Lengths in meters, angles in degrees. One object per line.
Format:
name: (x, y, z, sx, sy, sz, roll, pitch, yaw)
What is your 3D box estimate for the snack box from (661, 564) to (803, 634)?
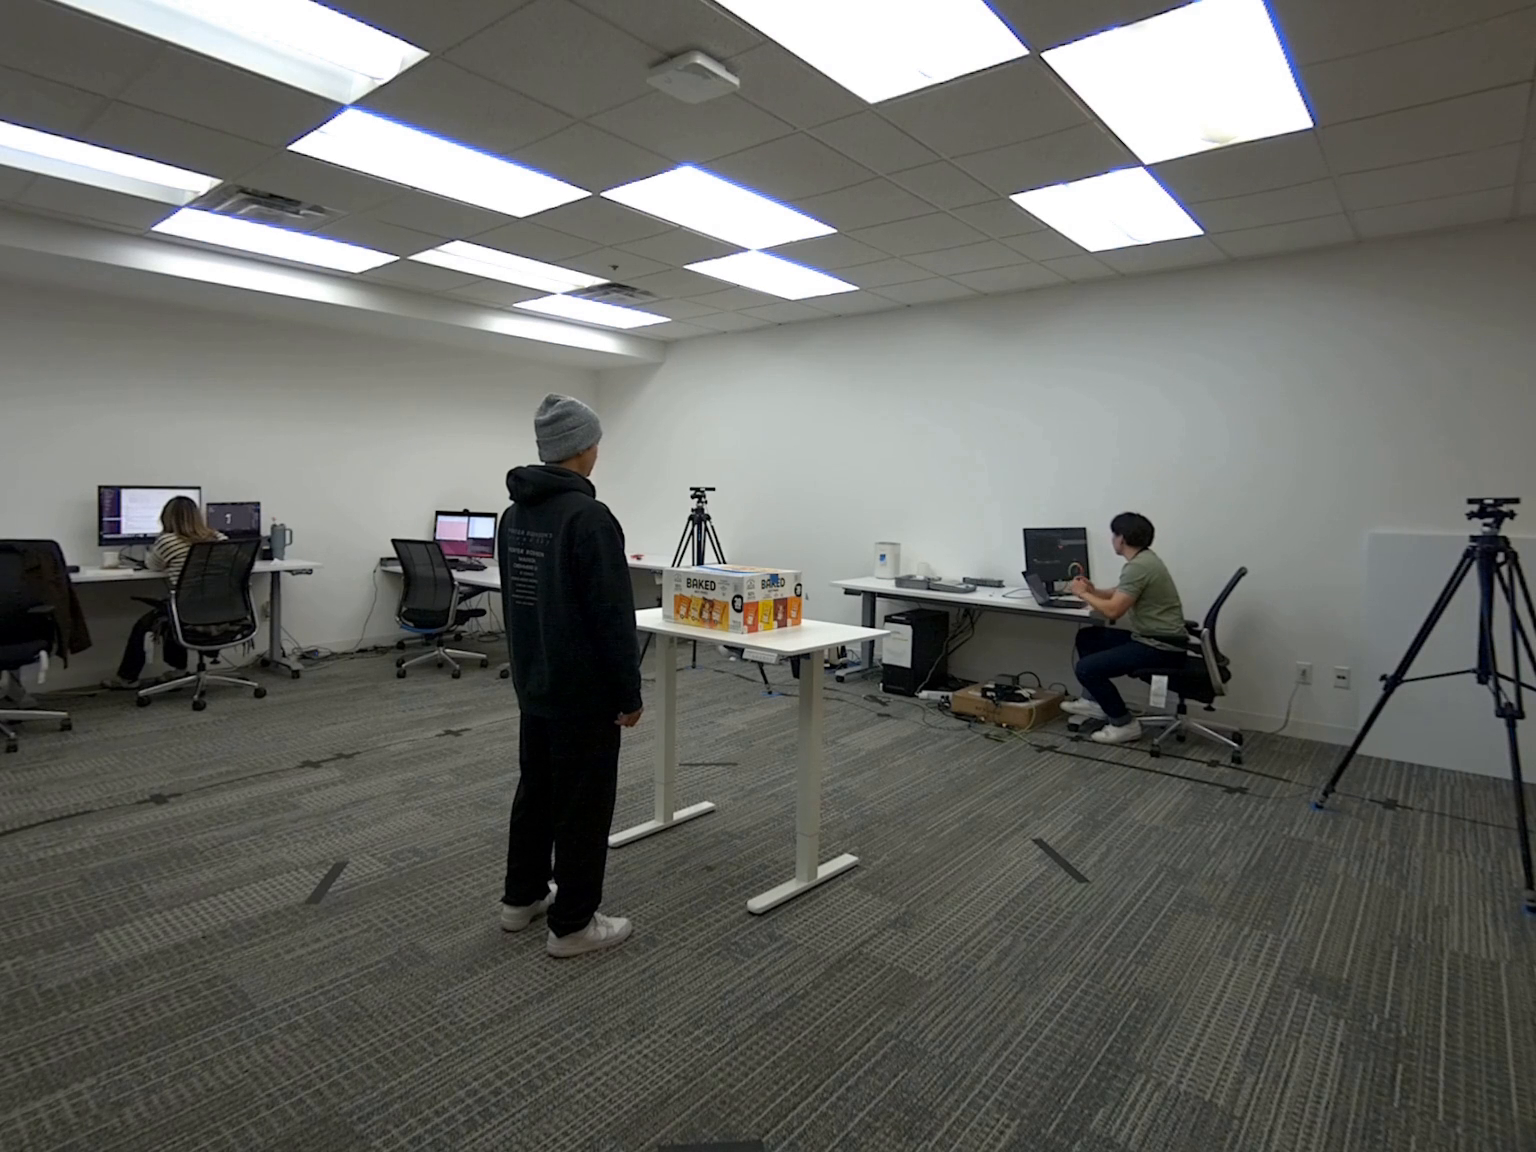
snack box: (-0.146, 0.075, 3.208, 0.419, 0.205, 0.330, 5, 6, 40)
